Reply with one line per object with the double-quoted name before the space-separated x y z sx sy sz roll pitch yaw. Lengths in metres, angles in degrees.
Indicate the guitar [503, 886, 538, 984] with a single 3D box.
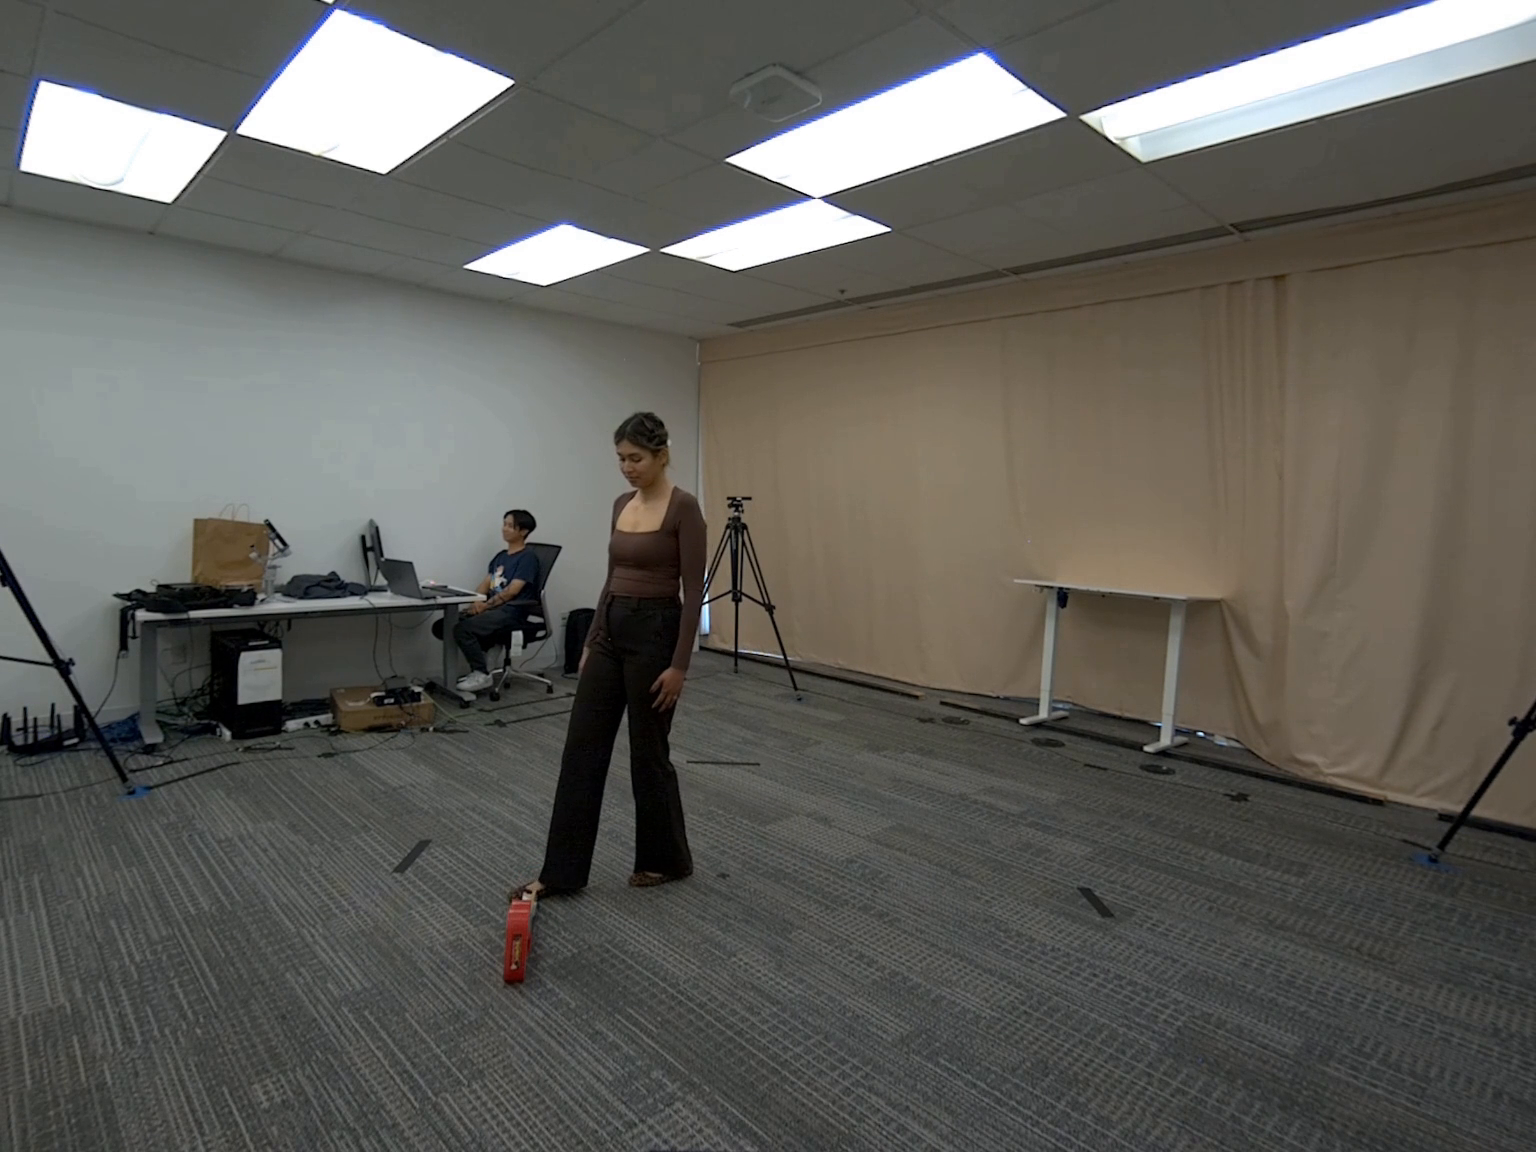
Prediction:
"guitar" -0.769 1.097 2.592 0.070 0.195 0.497 3 -12 -10
